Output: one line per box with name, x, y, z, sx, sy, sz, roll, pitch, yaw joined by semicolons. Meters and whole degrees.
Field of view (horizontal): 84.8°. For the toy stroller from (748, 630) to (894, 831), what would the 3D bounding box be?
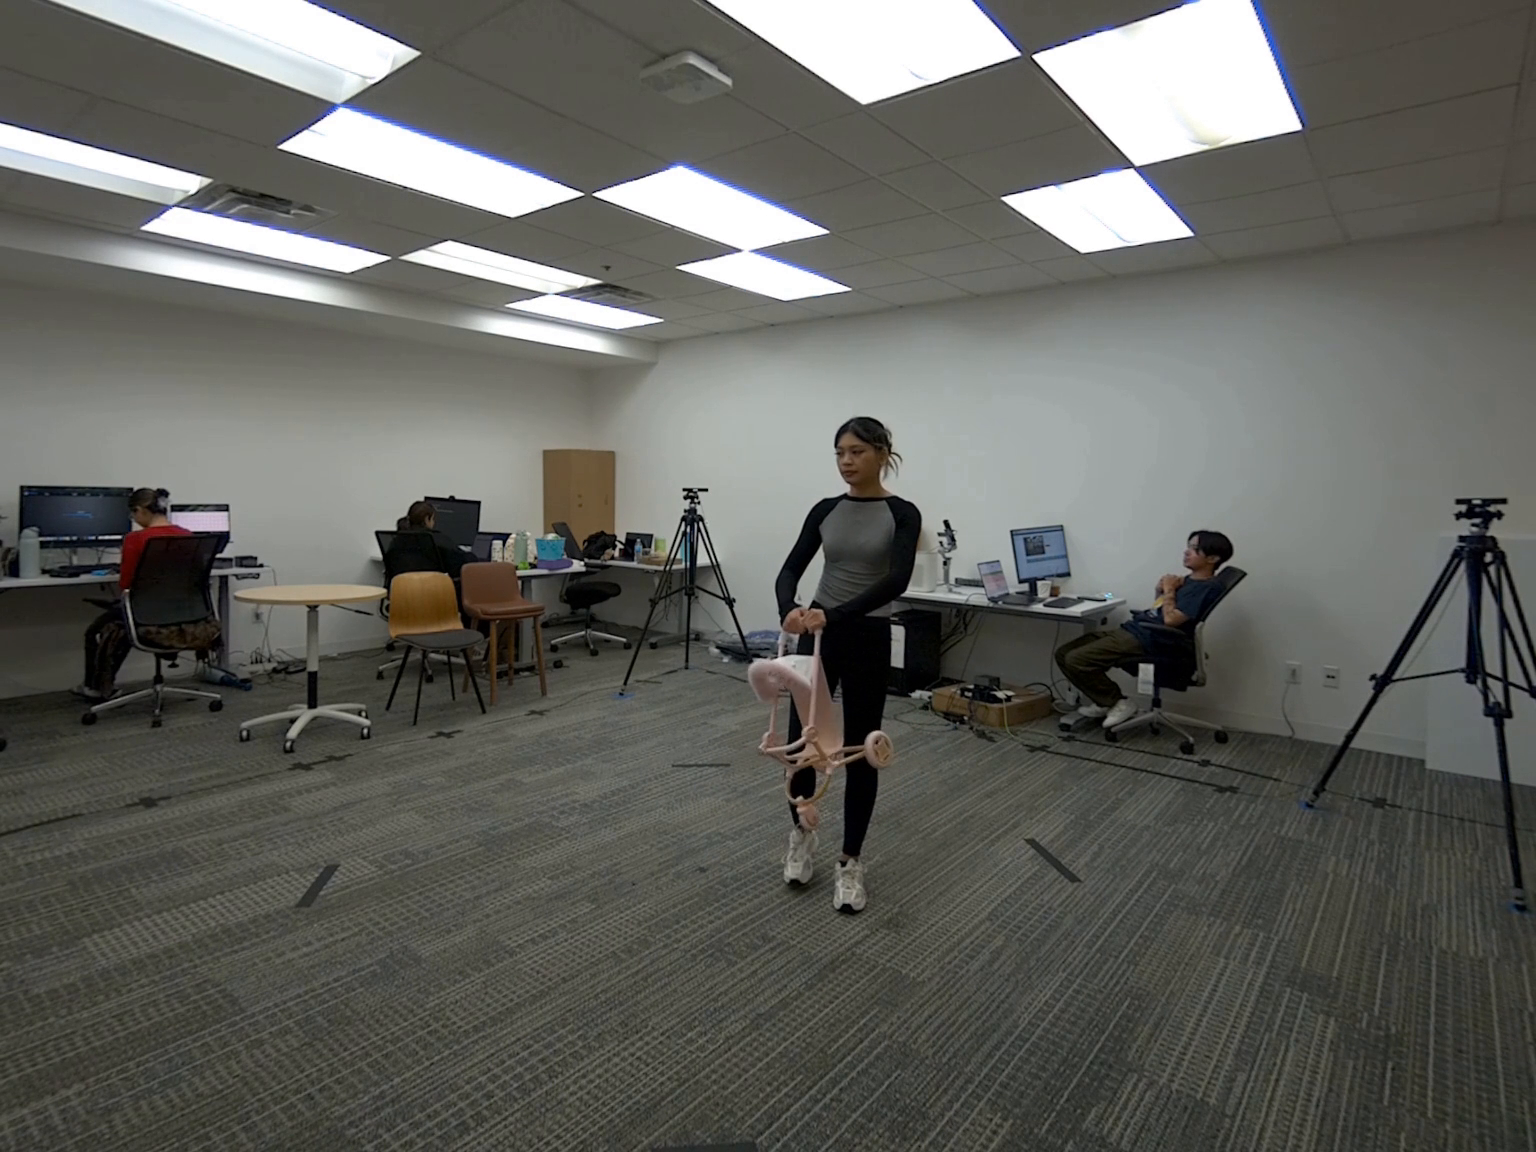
toy stroller;0.096;0.438;2.543;0.336;0.534;0.286;-27;2;-33
